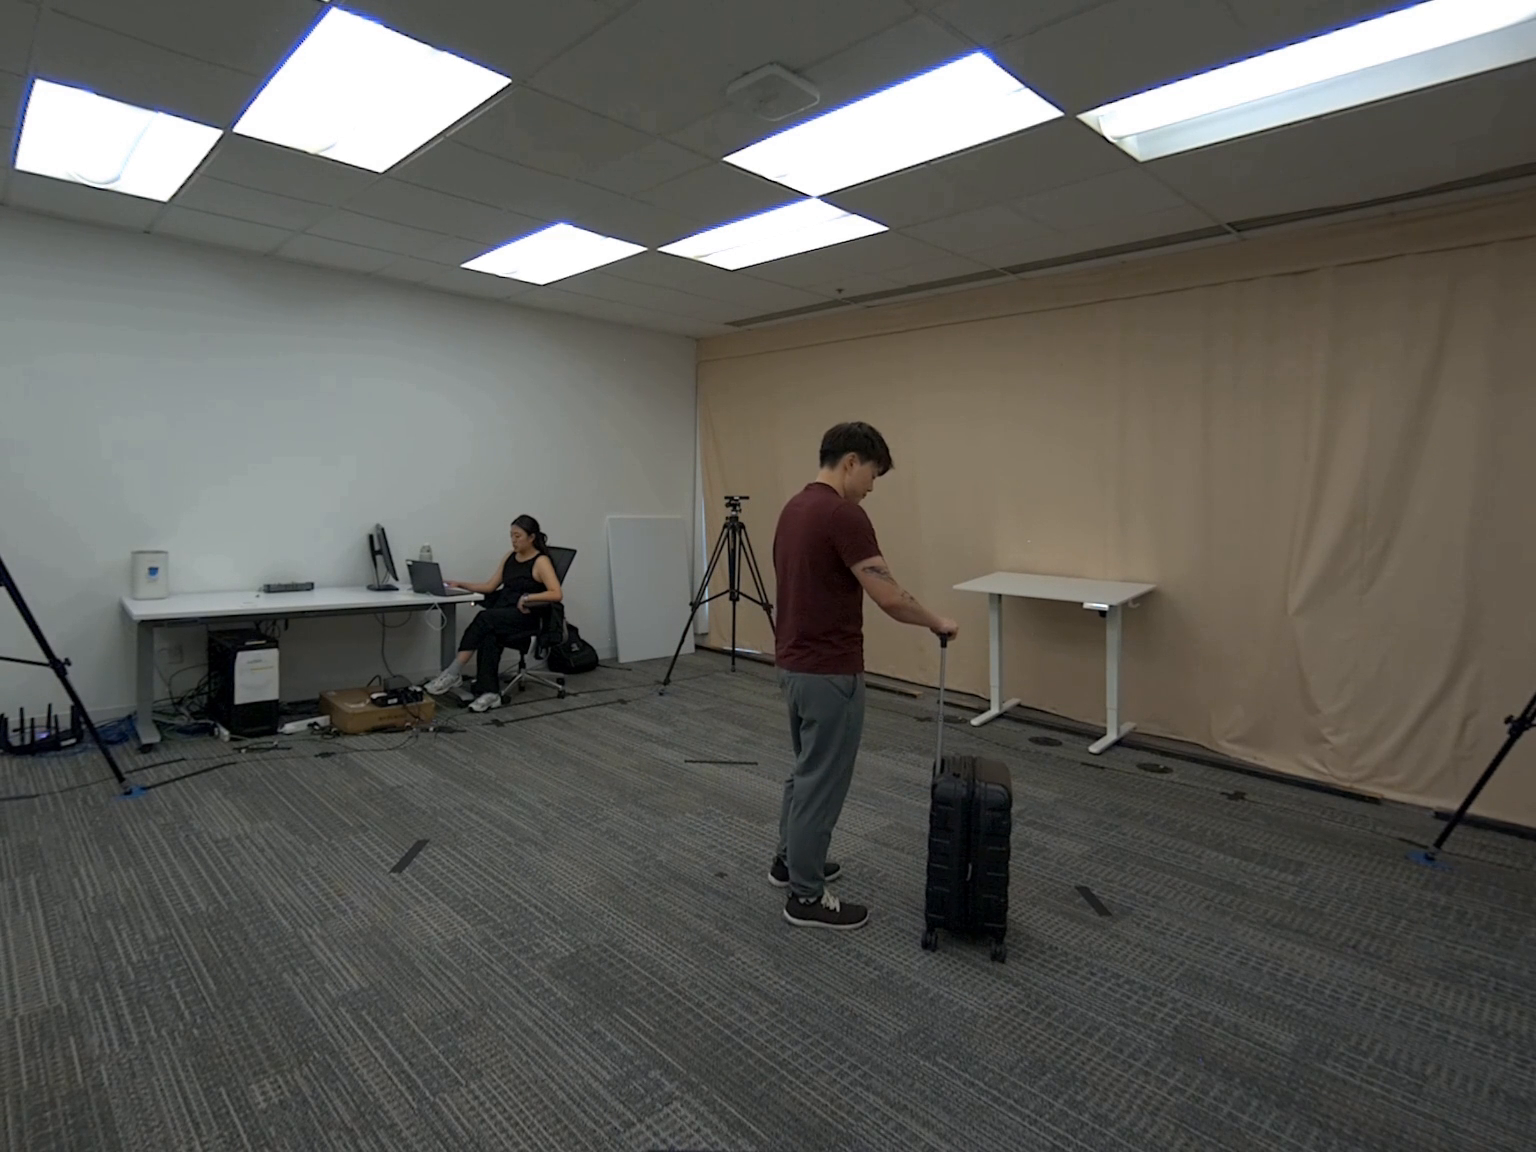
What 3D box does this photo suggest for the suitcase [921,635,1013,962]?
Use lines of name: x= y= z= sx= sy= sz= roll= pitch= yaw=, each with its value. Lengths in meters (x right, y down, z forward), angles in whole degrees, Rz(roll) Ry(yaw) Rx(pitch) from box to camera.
suitcase: x=0.664 y=0.684 z=2.727 sx=0.260 sy=0.977 sz=0.380 roll=5 pitch=3 yaw=14
